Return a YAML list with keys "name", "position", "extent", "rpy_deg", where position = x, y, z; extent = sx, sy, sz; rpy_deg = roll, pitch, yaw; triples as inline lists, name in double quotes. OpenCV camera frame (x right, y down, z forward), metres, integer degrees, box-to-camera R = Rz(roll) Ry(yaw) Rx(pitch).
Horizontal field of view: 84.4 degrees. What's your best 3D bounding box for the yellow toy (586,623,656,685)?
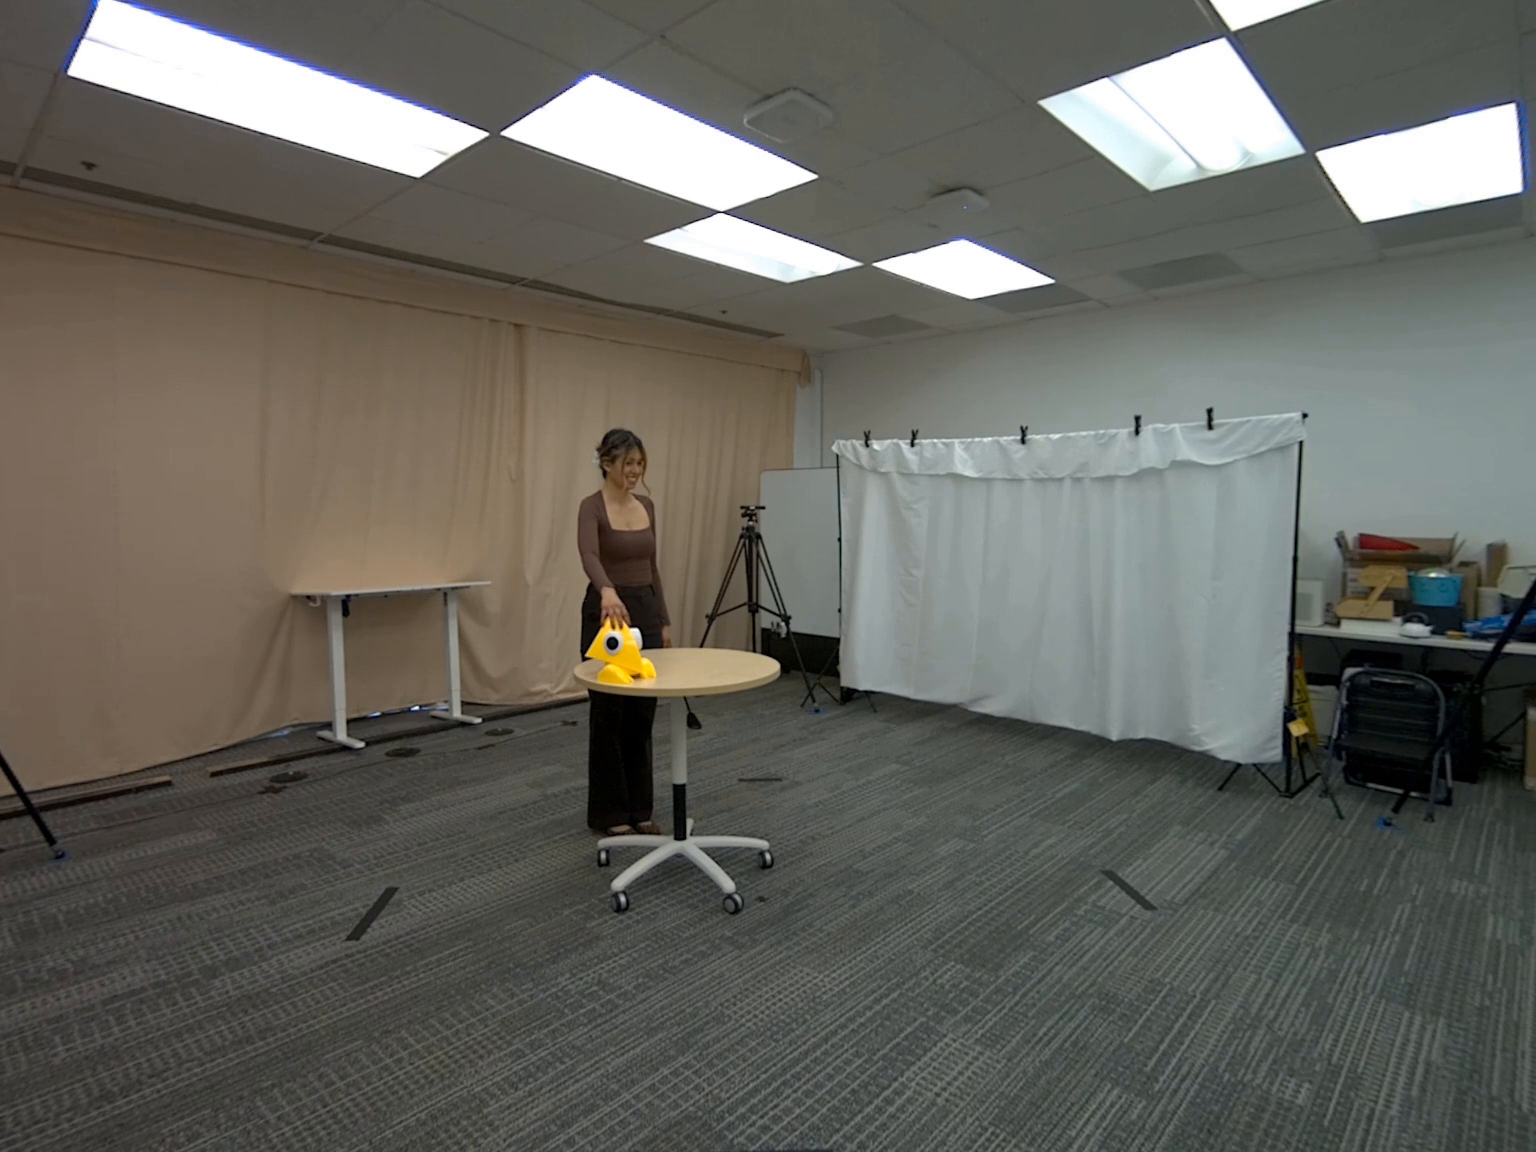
- name: "yellow toy"
  position: [-0.500, 0.241, 2.953]
  extent: [0.199, 0.230, 0.198]
  rpy_deg: [3, 5, 40]
